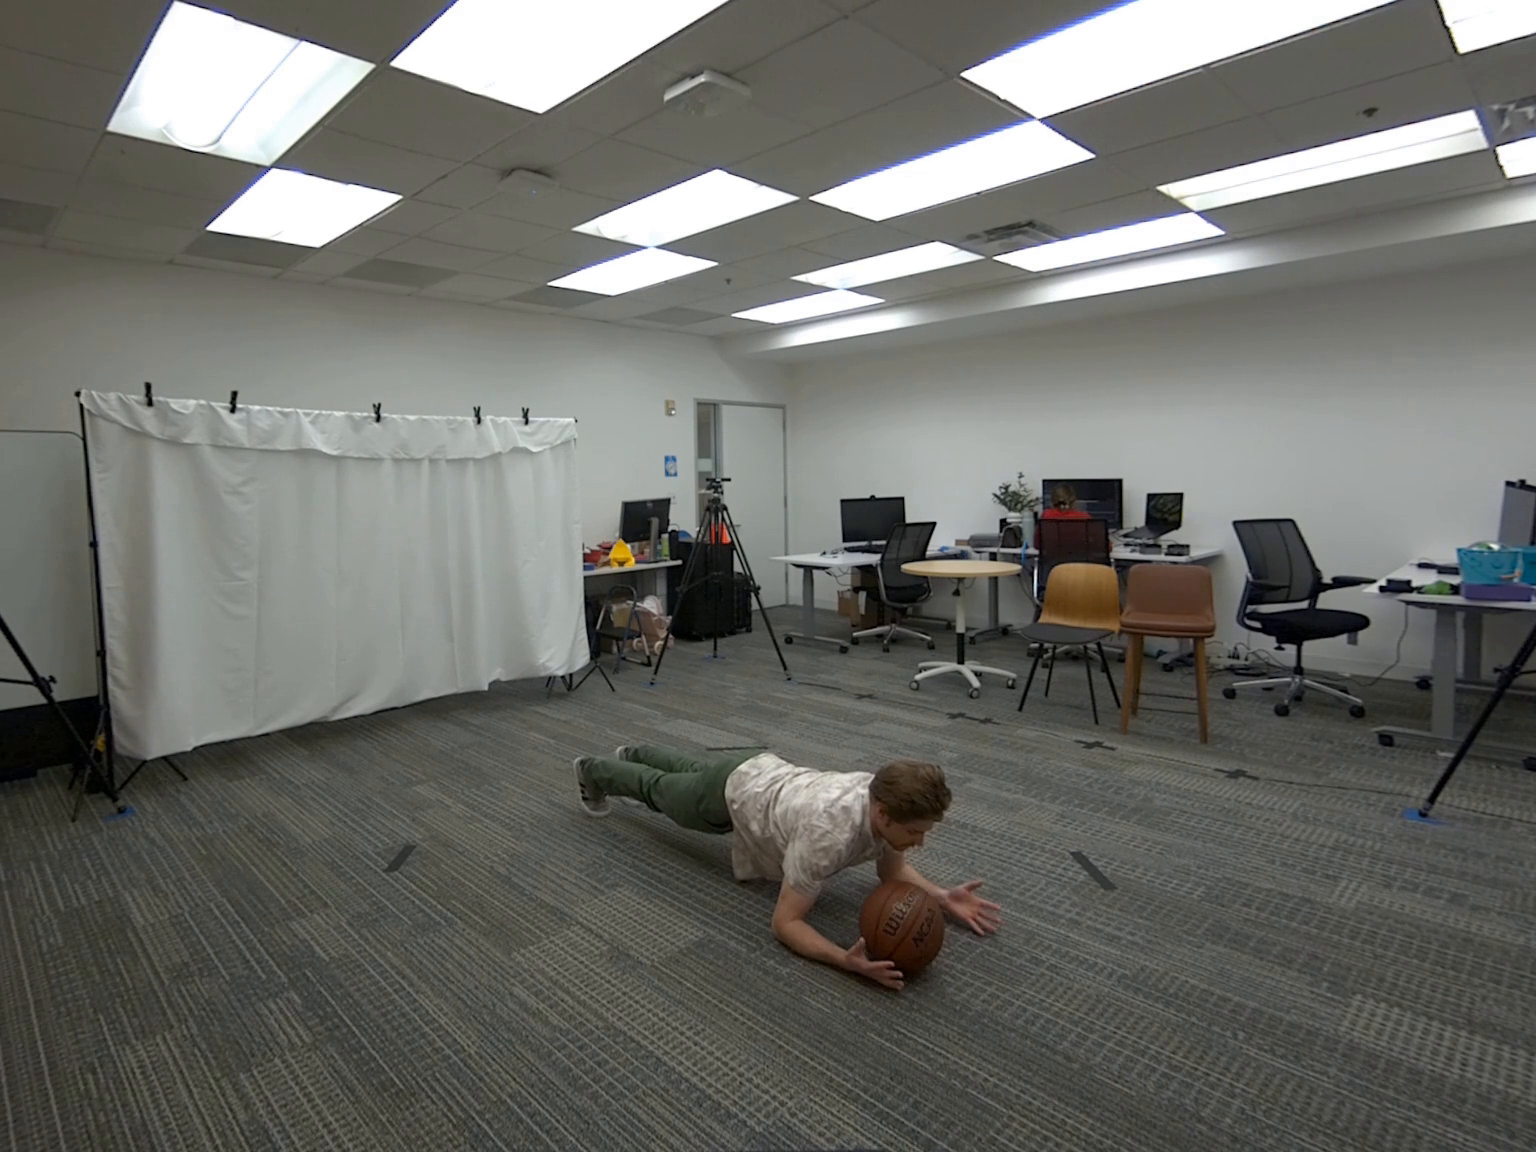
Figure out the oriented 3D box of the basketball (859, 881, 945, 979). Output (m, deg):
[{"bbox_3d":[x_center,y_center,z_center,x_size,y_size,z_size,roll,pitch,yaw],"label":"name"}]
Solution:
[{"bbox_3d":[0.388,0.994,2.431,0.236,0.235,0.237,-1,5,-2],"label":"basketball"}]
